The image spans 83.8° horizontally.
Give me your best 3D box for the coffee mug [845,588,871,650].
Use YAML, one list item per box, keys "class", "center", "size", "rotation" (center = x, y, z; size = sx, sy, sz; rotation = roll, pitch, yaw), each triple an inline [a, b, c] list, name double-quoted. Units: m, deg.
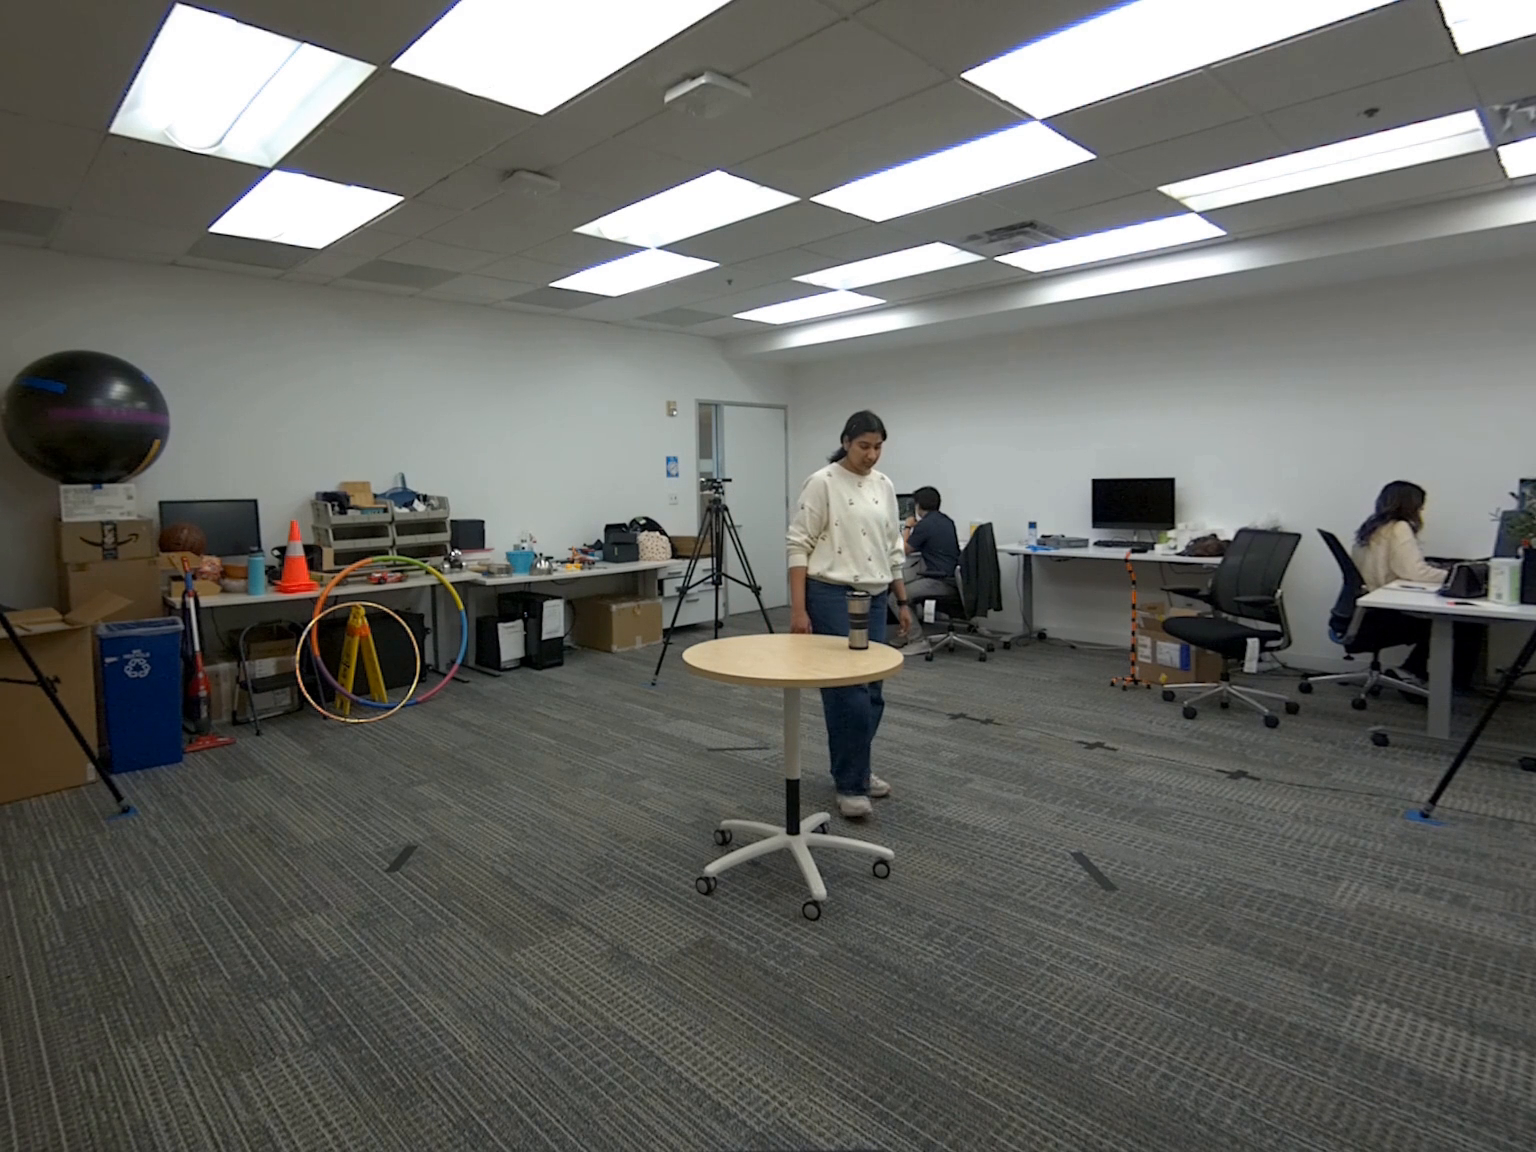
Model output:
- class: "coffee mug"
  center: [0.336, 0.161, 3.082]
  size: [0.119, 0.203, 0.090]
  rotation: [-8, 2, -40]
